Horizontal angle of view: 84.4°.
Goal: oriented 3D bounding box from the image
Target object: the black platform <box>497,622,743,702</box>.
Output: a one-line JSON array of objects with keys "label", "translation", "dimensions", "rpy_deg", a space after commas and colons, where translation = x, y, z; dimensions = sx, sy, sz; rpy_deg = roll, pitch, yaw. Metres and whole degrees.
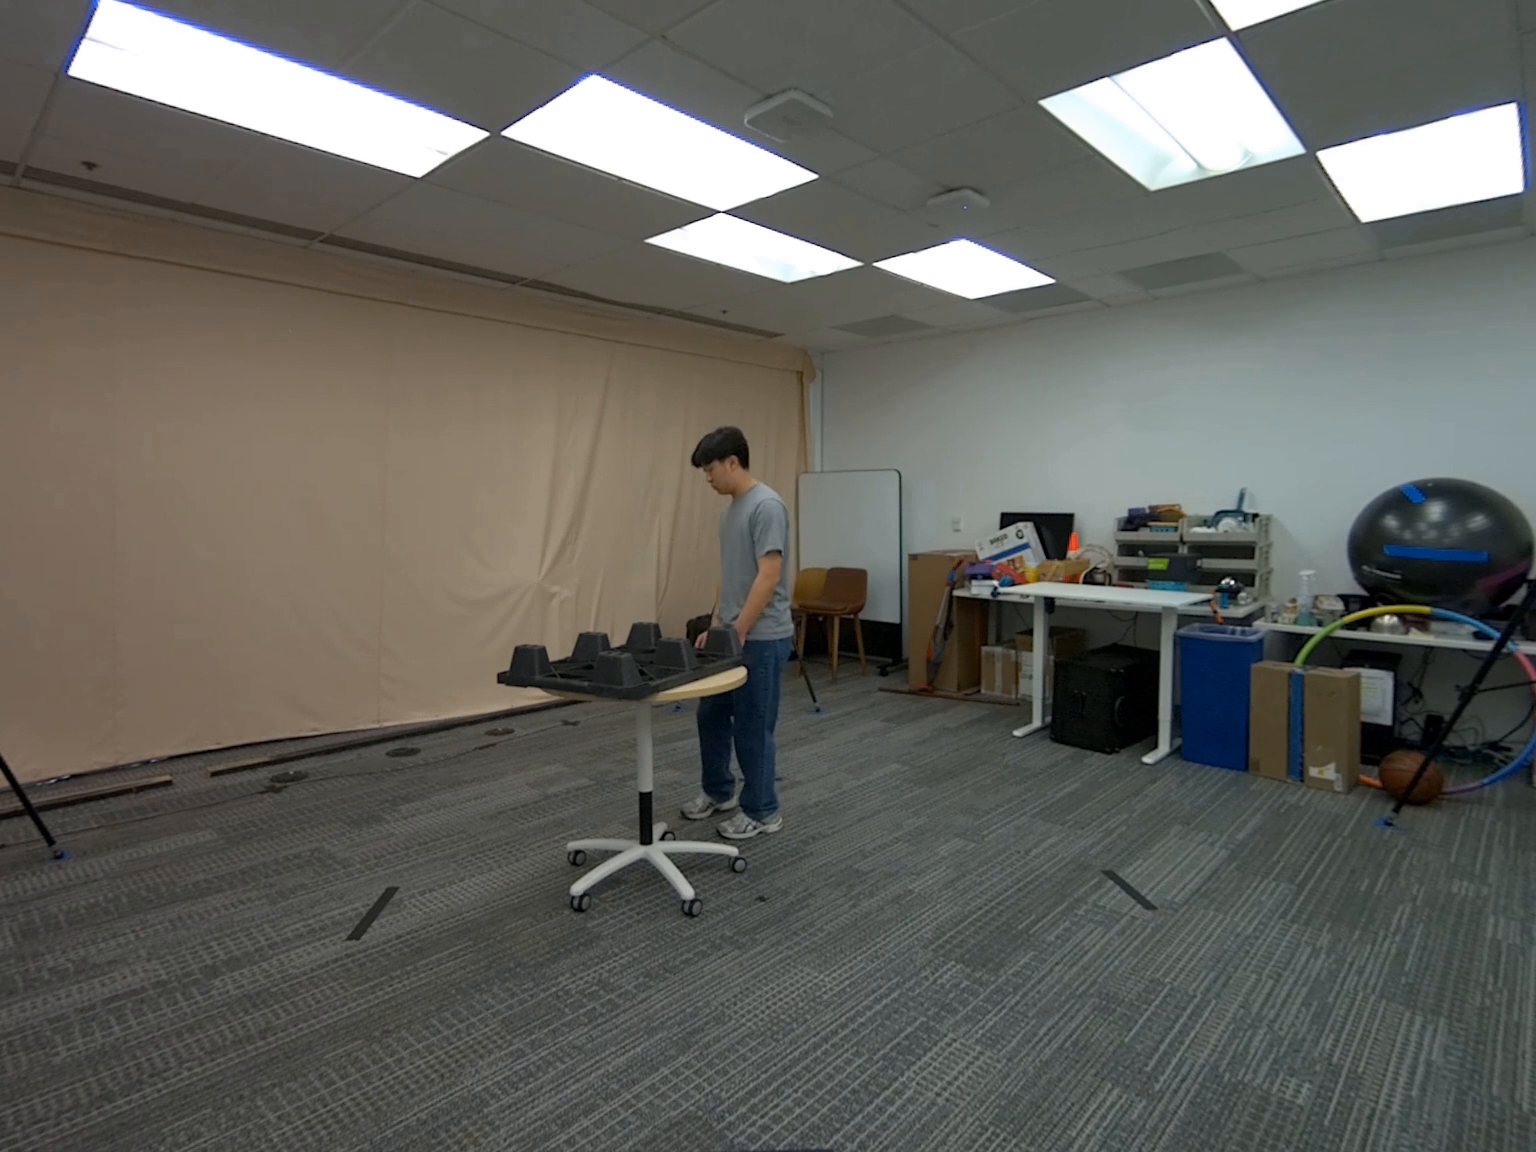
[{"label": "black platform", "translation": [-0.498, 0.292, 3.090], "dimensions": [0.622, 0.143, 0.785], "rpy_deg": [1, 4, 29]}]
